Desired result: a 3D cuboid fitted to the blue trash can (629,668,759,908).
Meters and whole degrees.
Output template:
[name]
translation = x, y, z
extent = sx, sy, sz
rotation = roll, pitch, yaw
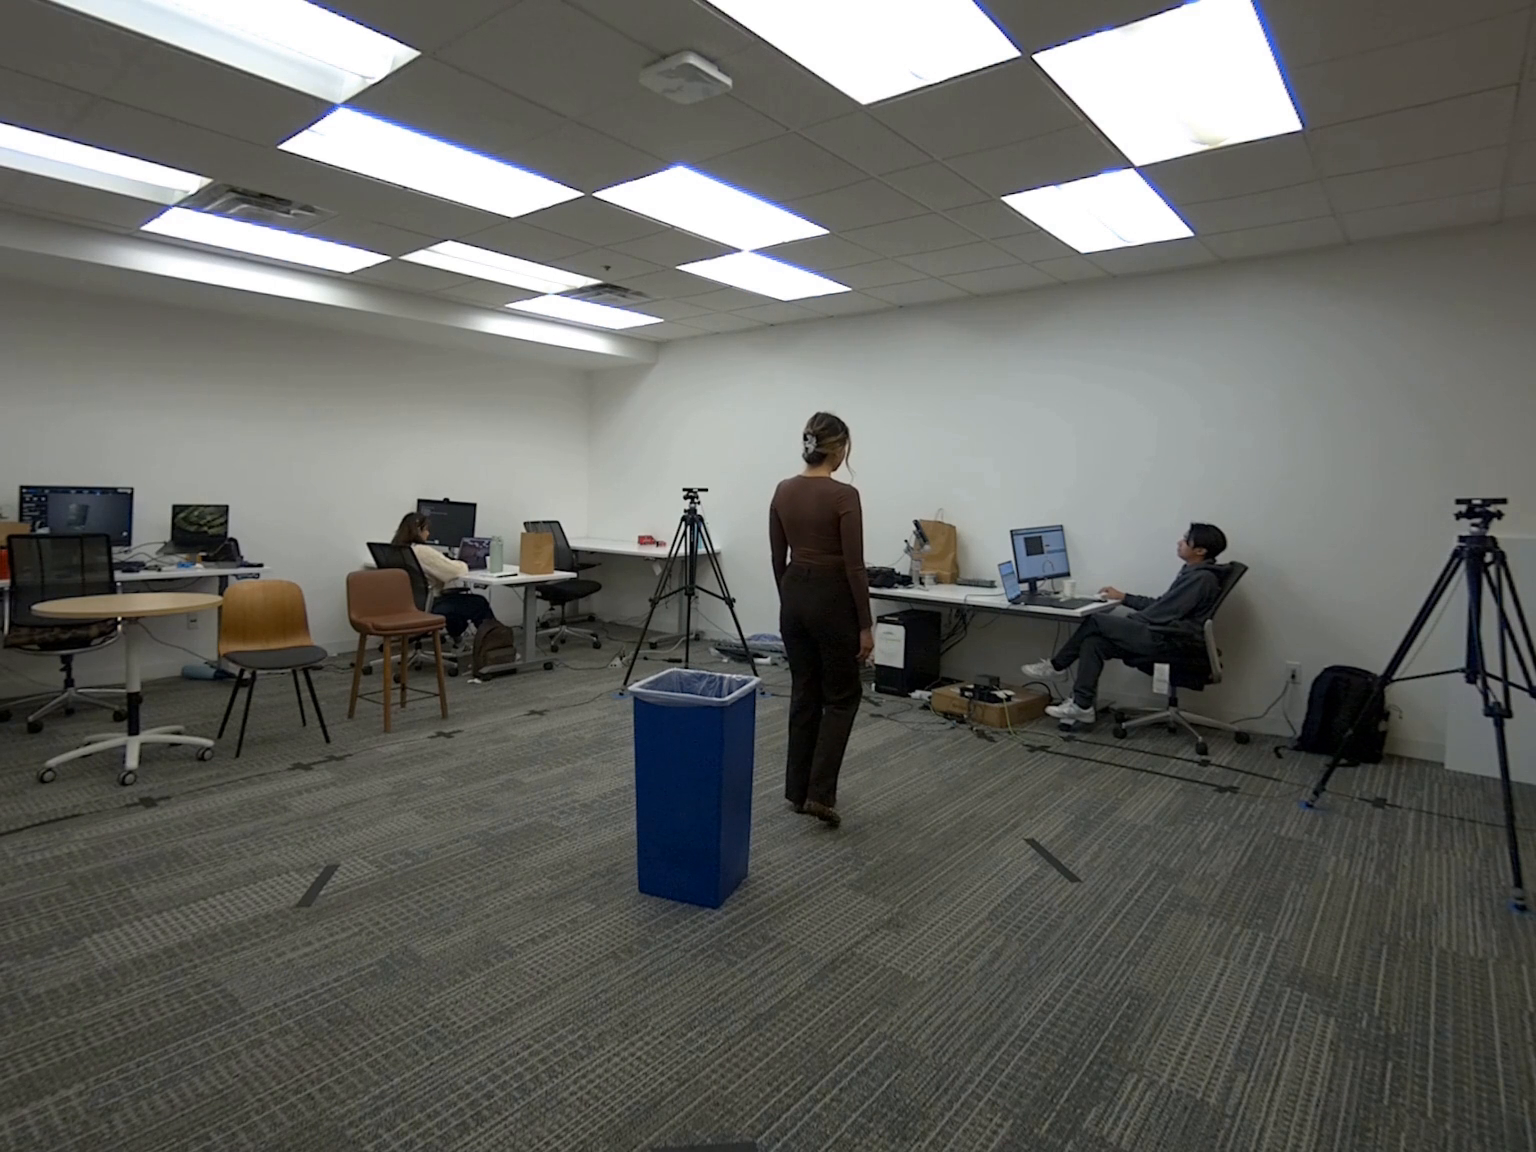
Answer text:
[blue trash can]
translation = -0.263, 0.721, 2.978
extent = 0.387, 0.712, 0.366
rotation = 2, 3, 21
